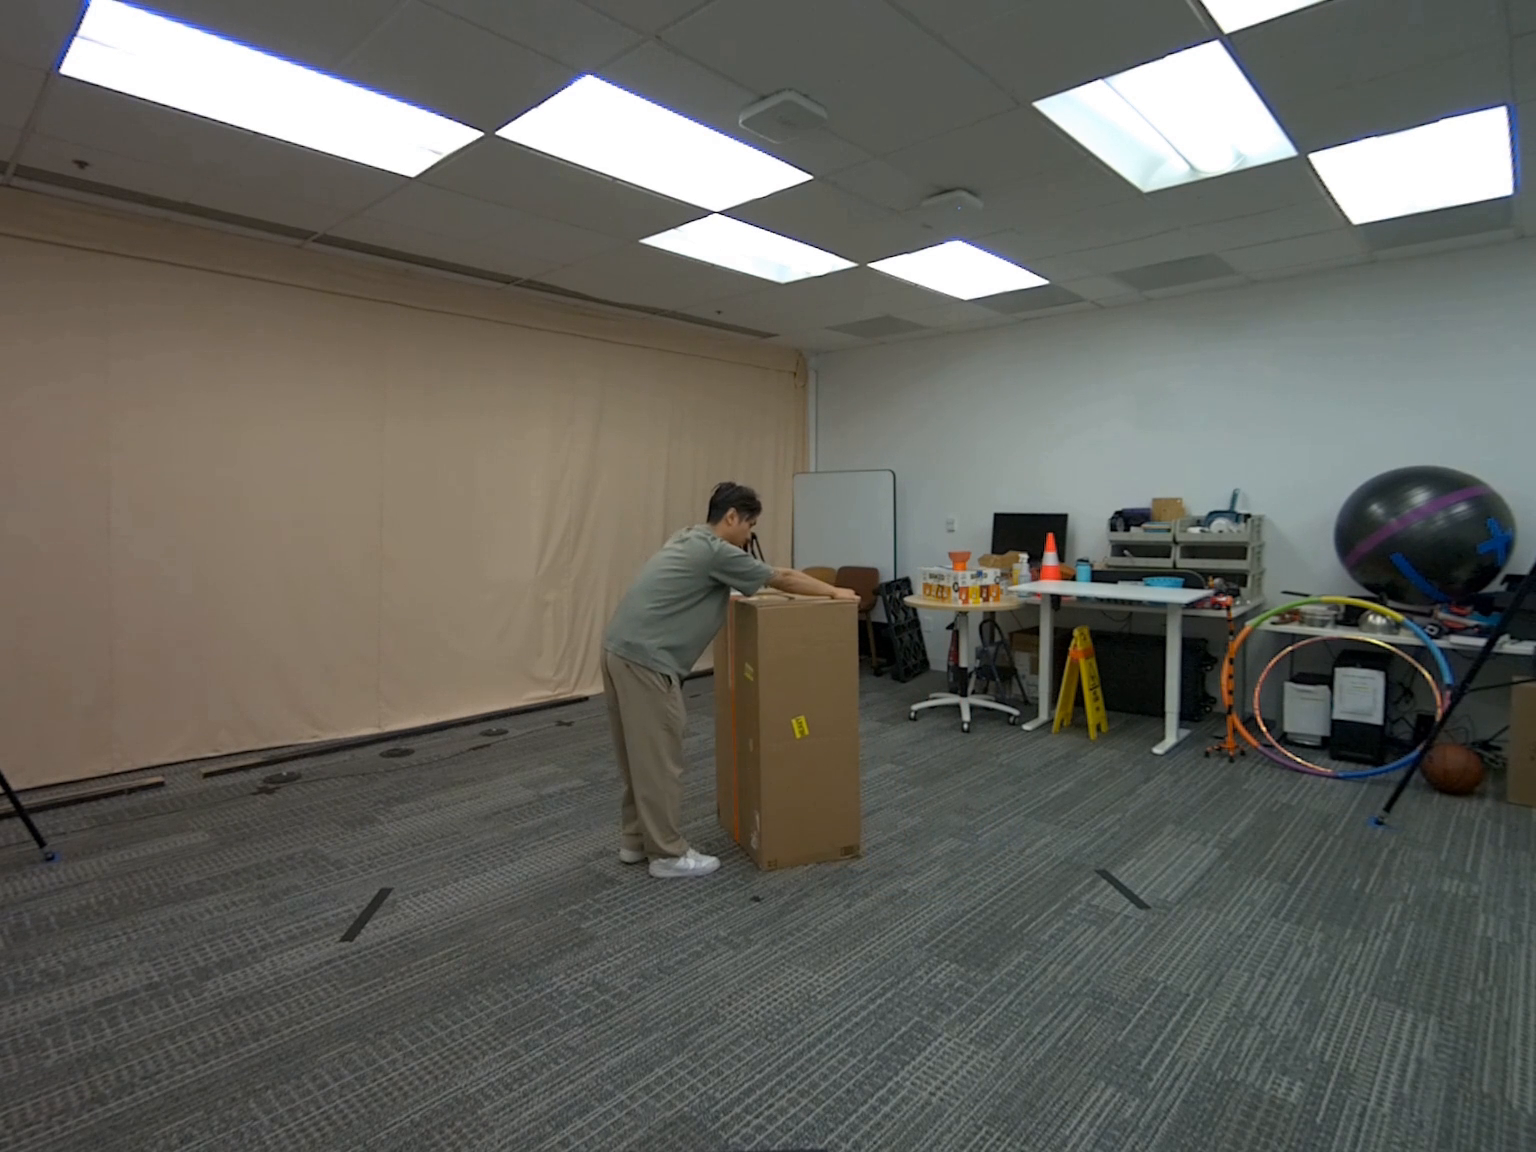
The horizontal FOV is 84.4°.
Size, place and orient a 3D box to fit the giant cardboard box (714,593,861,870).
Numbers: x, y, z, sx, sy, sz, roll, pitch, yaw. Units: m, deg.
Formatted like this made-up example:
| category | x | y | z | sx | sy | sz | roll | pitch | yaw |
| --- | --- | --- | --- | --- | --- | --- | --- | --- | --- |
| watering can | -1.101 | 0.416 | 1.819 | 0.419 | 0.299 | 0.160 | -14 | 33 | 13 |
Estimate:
| category | x | y | z | sx | sy | sz | roll | pitch | yaw |
| --- | --- | --- | --- | --- | --- | --- | --- | --- | --- |
| giant cardboard box | 0.067 | 0.585 | 3.514 | 0.418 | 1.023 | 0.590 | -2 | 4 | -19 |
